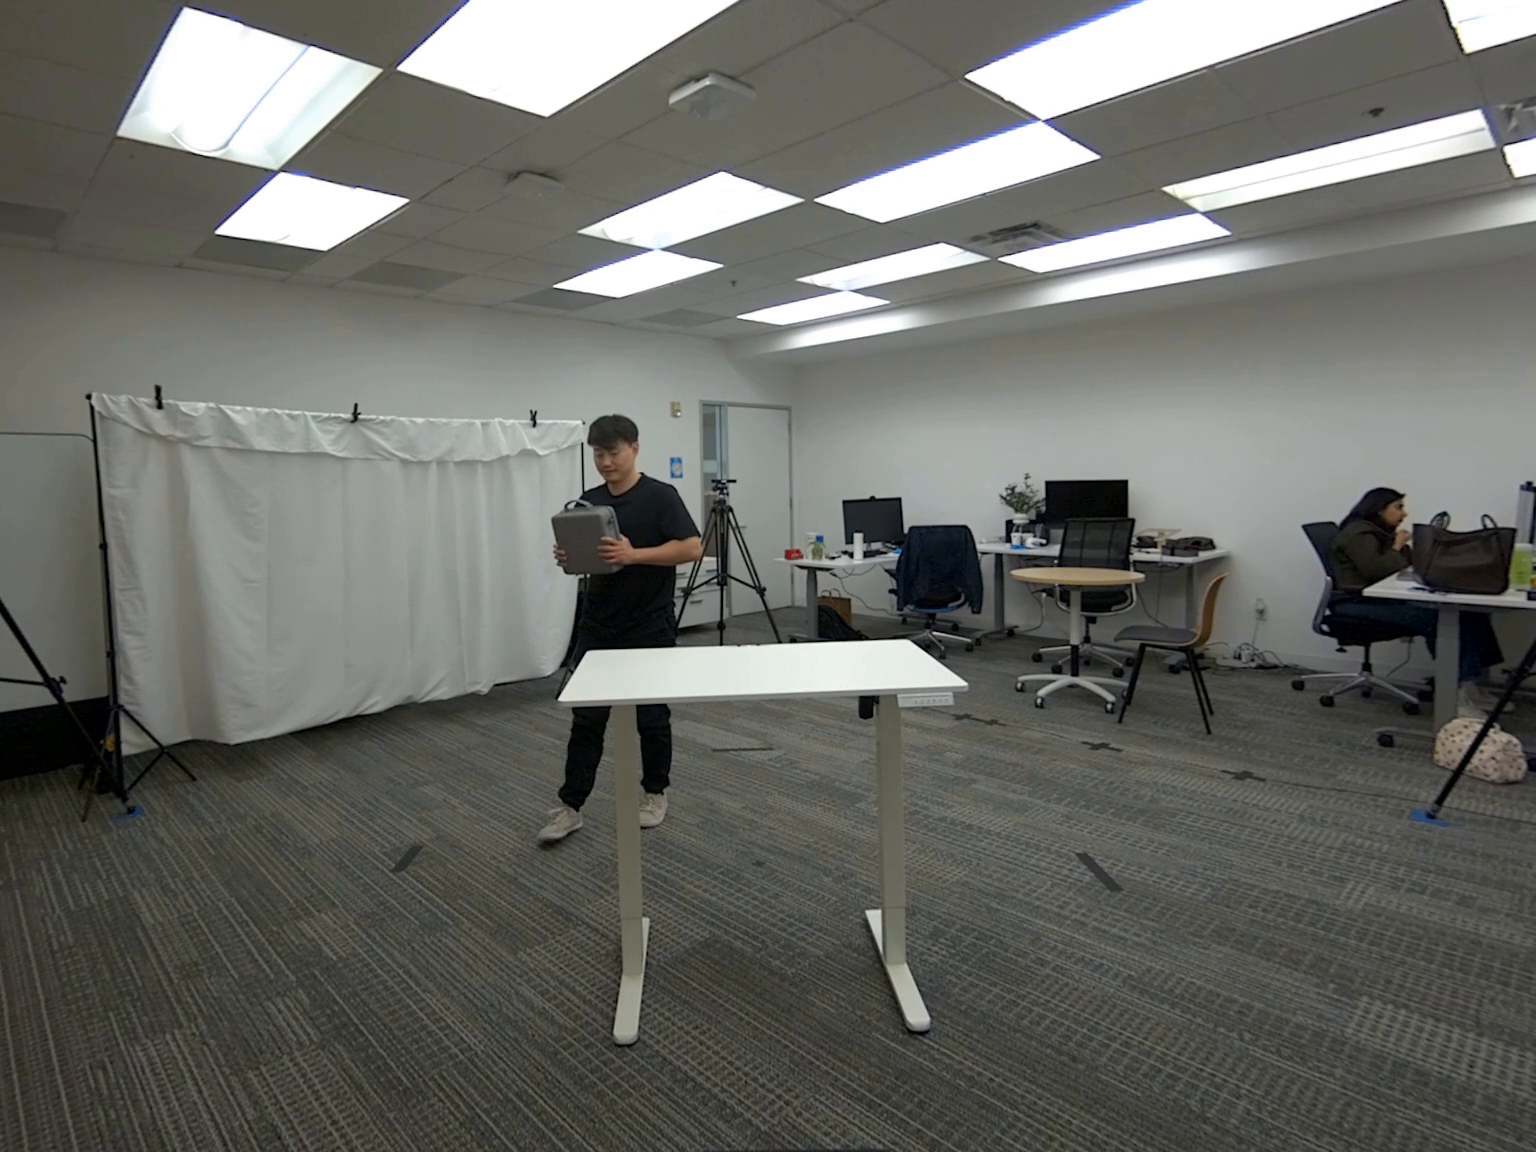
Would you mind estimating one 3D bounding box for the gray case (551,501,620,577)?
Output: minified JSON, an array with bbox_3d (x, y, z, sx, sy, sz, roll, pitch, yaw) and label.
[{"bbox_3d":[-0.706,-0.137,3.289,0.262,0.257,0.103,-4,16,27],"label":"gray case"}]
